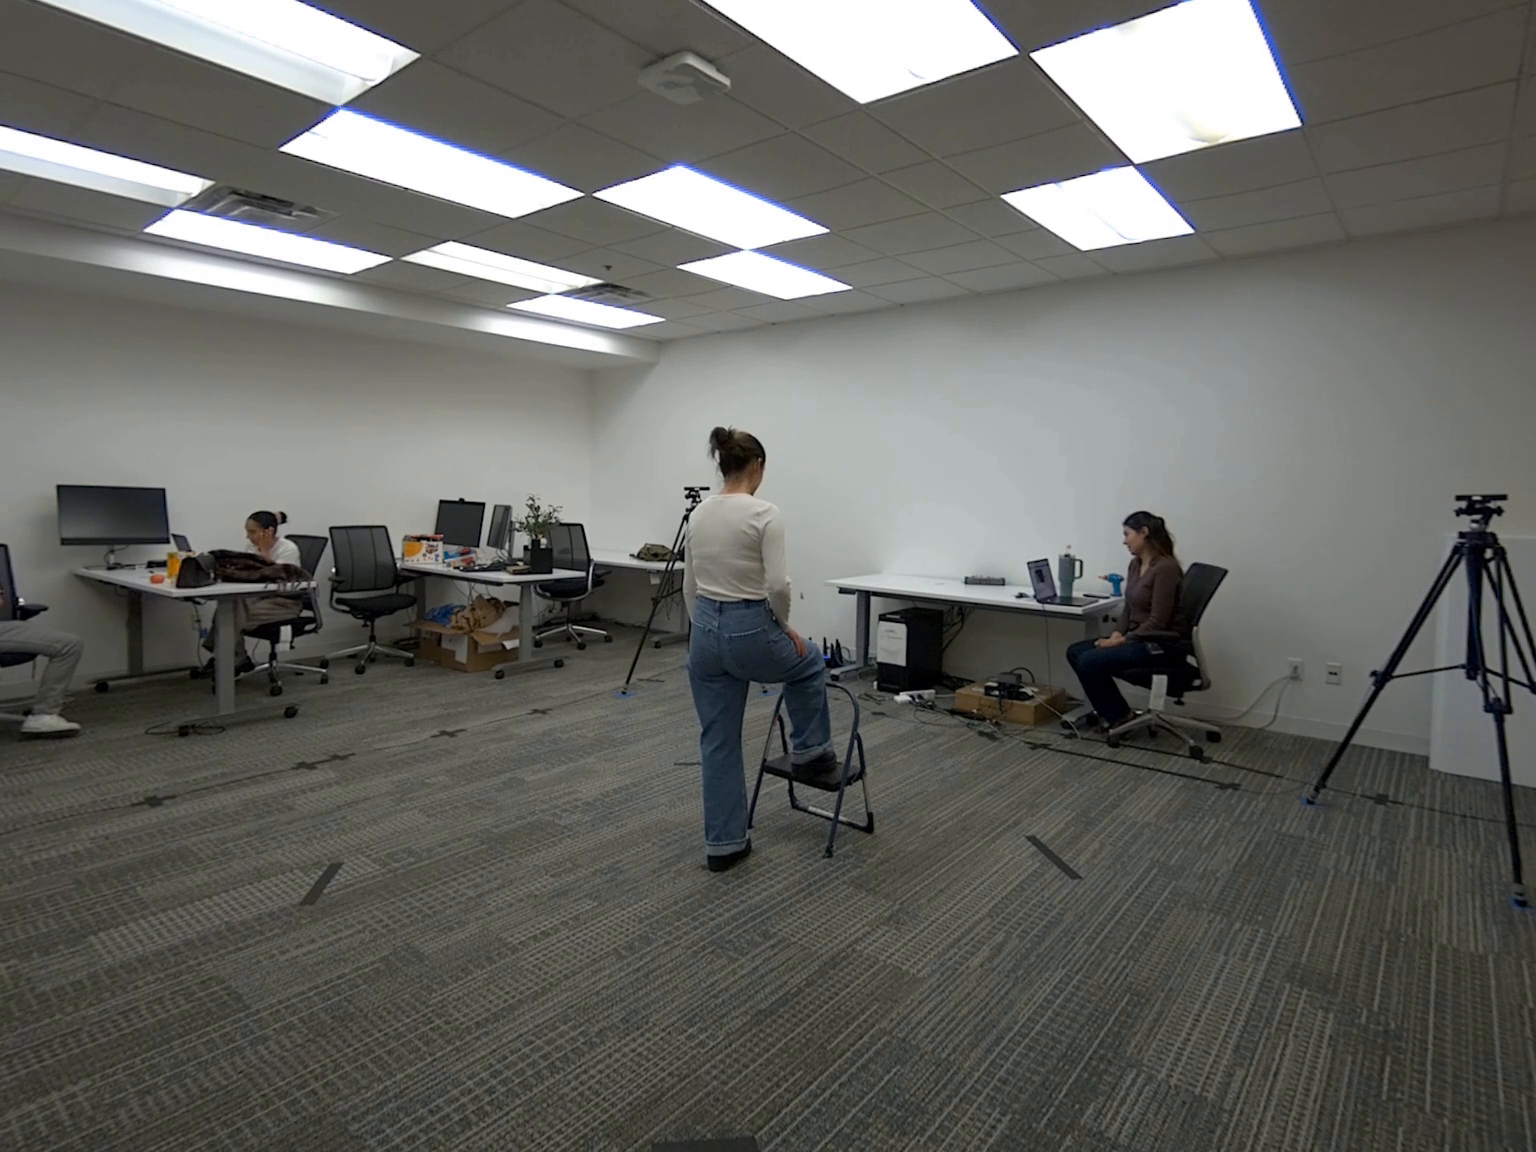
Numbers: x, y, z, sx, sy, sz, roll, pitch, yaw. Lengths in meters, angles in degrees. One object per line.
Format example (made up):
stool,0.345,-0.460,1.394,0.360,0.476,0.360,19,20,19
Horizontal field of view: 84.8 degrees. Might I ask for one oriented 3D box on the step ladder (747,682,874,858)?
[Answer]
step ladder,0.169,0.734,3.465,0.445,0.604,0.339,4,5,39
